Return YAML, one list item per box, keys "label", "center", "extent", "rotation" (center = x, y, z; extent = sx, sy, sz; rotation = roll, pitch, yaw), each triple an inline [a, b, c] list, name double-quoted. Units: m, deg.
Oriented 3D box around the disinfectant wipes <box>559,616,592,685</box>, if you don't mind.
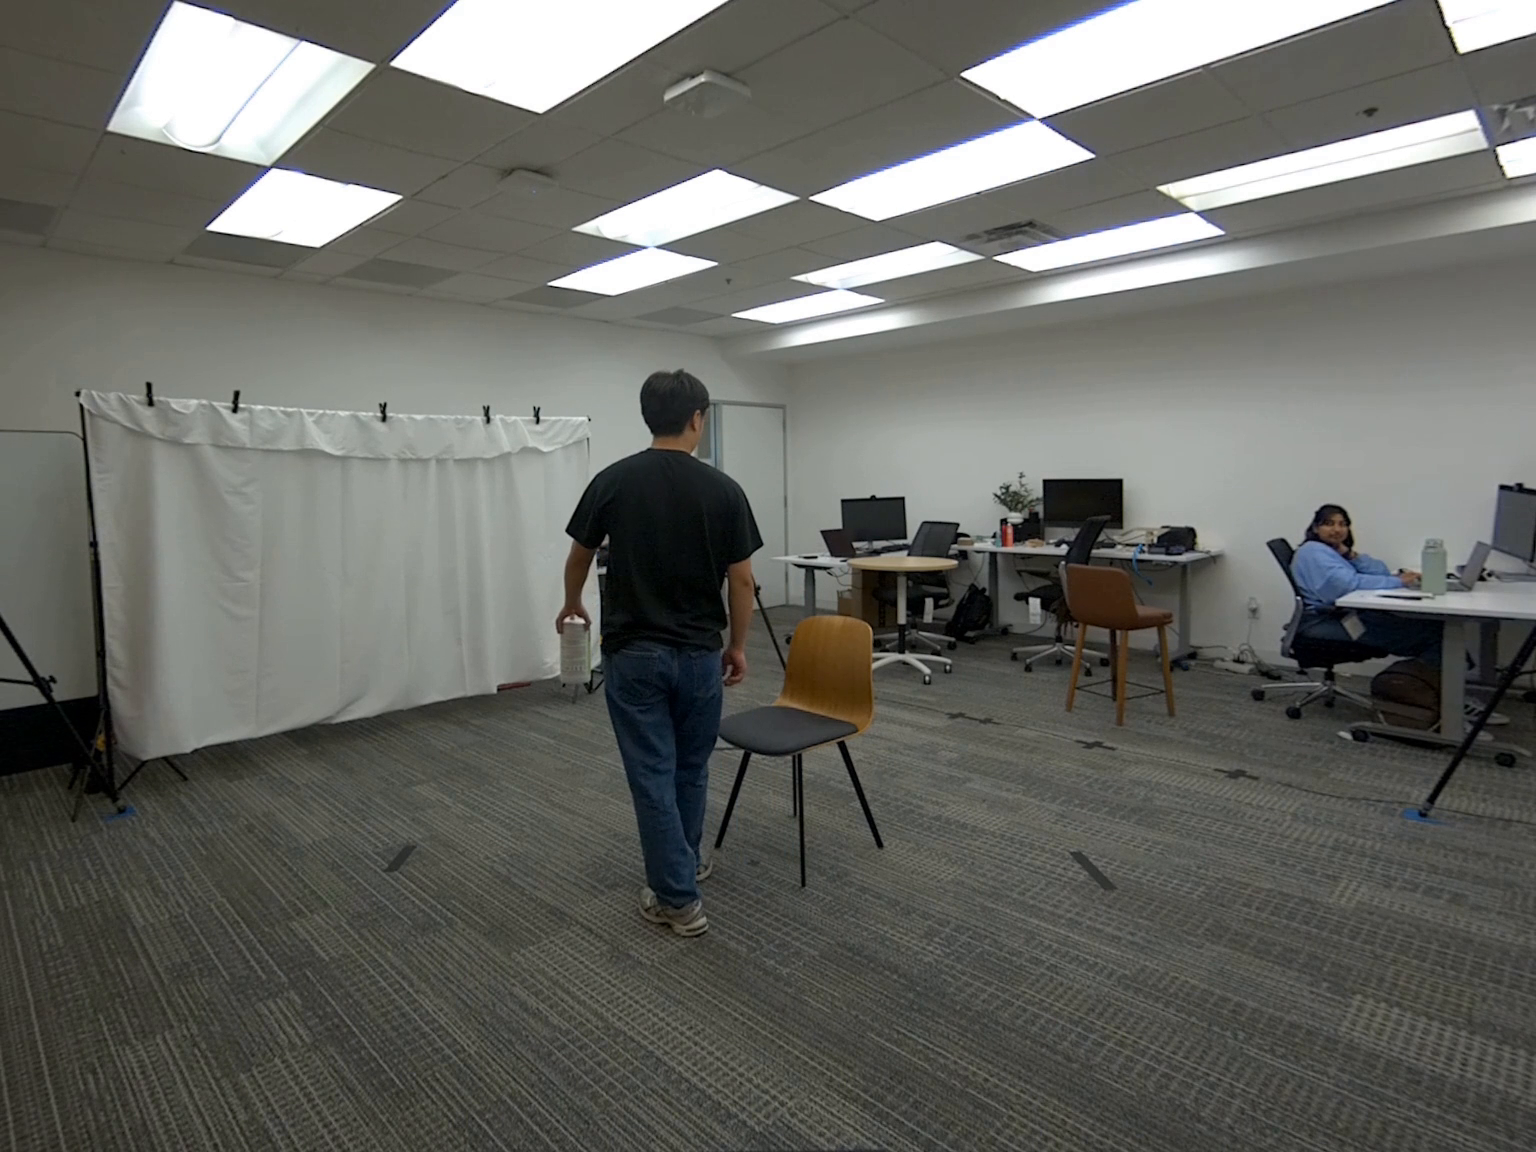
- label: "disinfectant wipes"
  center: [-0.686, 0.266, 3.061]
  extent: [0.118, 0.217, 0.118]
  rotation: [-1, 2, -2]
